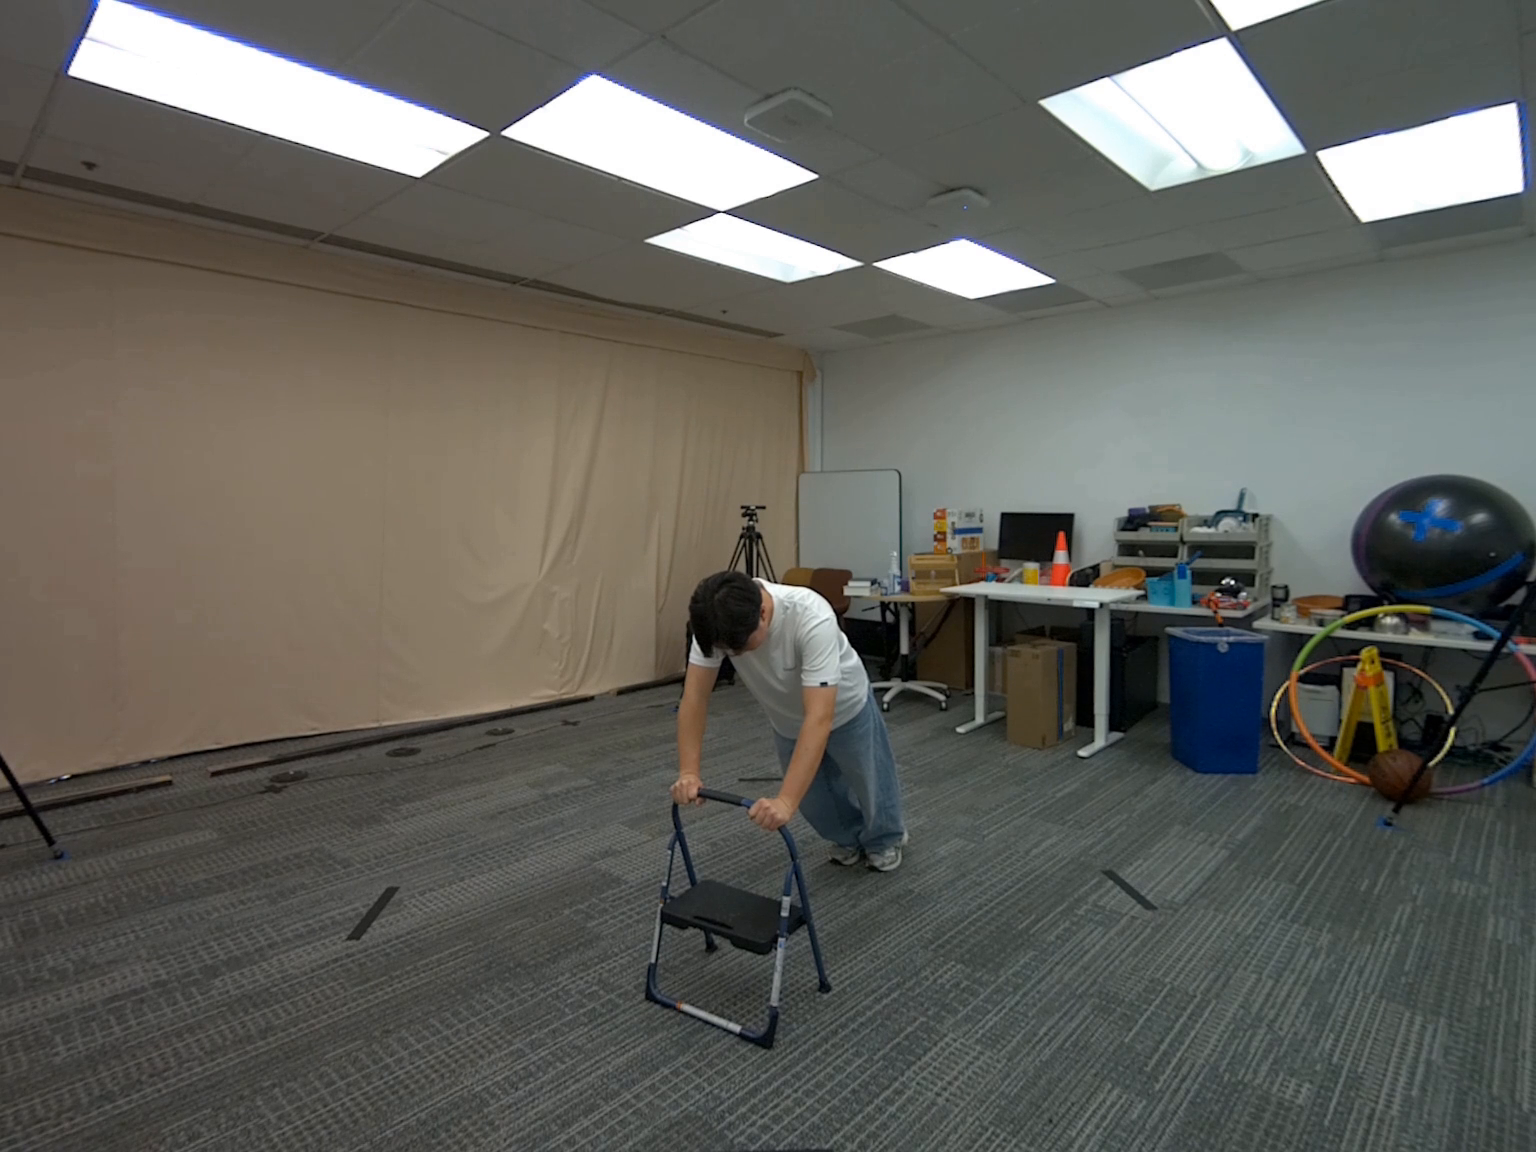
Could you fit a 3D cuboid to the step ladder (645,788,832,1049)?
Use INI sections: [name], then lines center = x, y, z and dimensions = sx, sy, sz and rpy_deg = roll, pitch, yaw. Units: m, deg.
[step ladder]
center = -0.089, 0.892, 2.384
dimensions = 0.443, 0.604, 0.340
rpy_deg = 2, 5, 31
